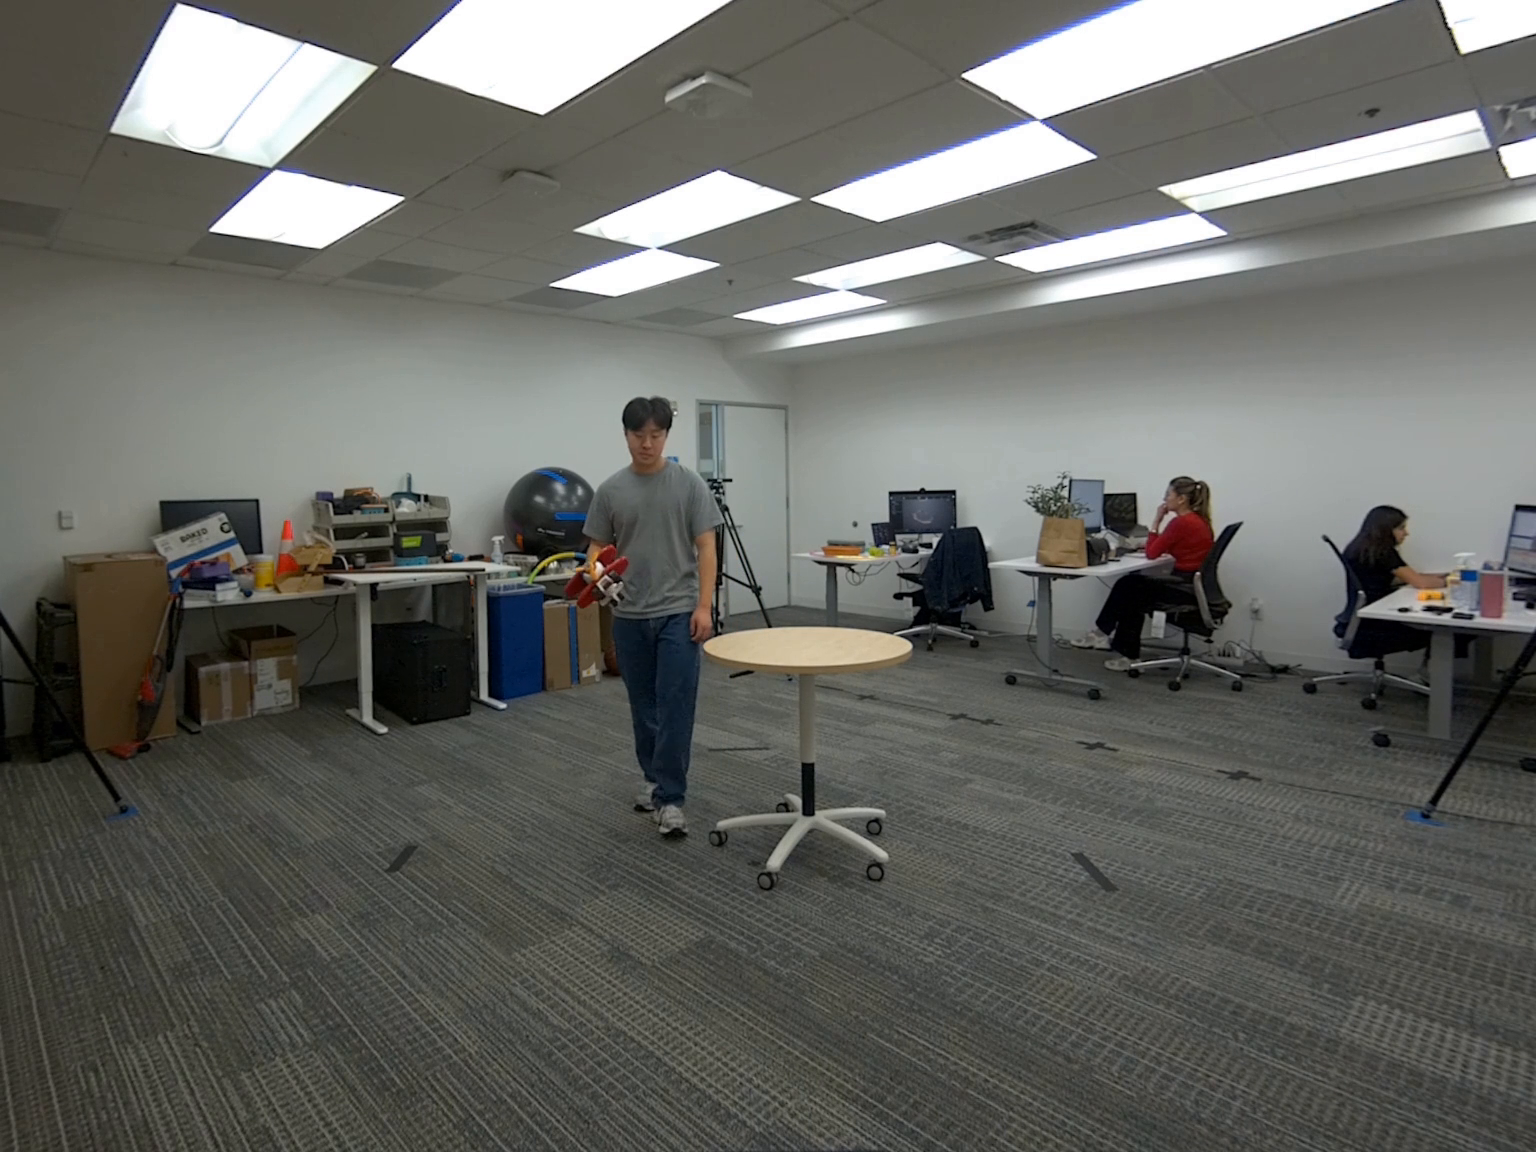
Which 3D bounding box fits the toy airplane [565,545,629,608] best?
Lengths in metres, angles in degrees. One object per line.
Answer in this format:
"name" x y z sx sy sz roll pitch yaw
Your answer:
"toy airplane" -0.655 0.039 3.278 0.249 0.159 0.256 -37 -18 -39
